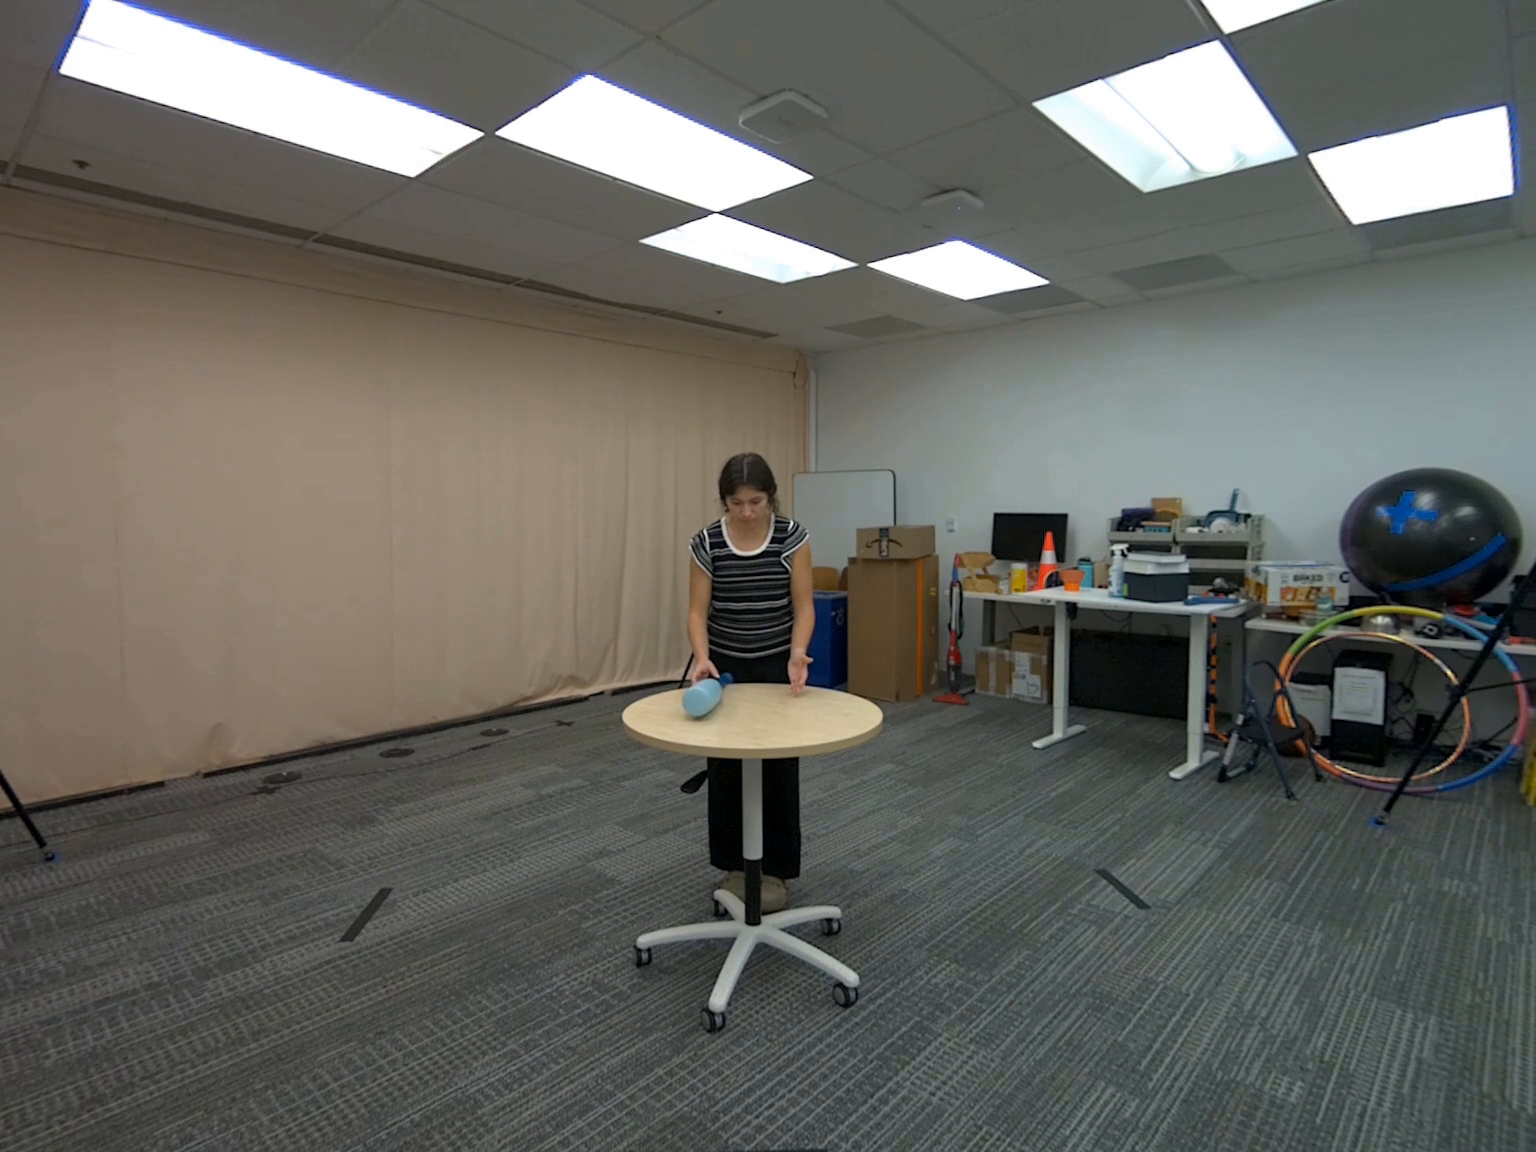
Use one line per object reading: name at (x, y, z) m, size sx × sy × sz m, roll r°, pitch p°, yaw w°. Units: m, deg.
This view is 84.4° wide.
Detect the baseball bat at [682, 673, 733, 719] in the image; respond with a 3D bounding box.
baseball bat at (-0.151, 0.352, 2.645) m, size 0.090 × 0.089 × 0.537 m, roll 1°, pitch 1°, yaw 8°
